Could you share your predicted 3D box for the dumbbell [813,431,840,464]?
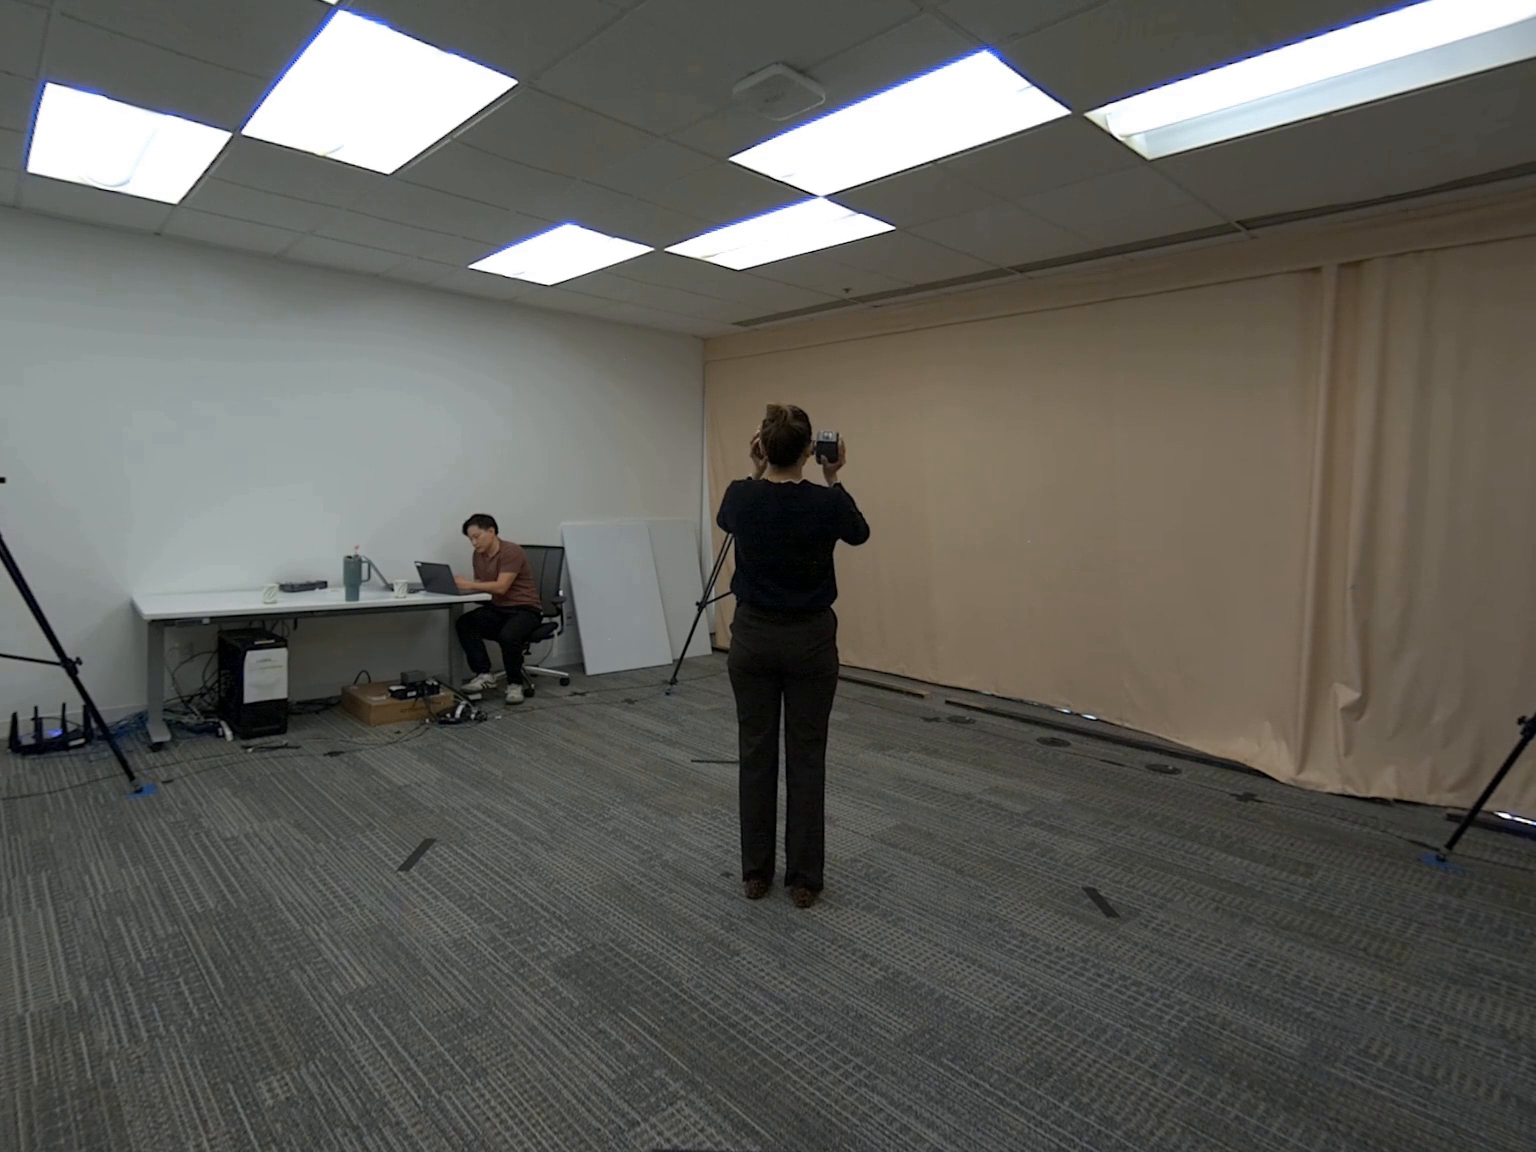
[{"bbox_3d":[0.109,-0.463,3.016,0.296,0.110,0.121,7,-14,8],"label":"dumbbell"}]
